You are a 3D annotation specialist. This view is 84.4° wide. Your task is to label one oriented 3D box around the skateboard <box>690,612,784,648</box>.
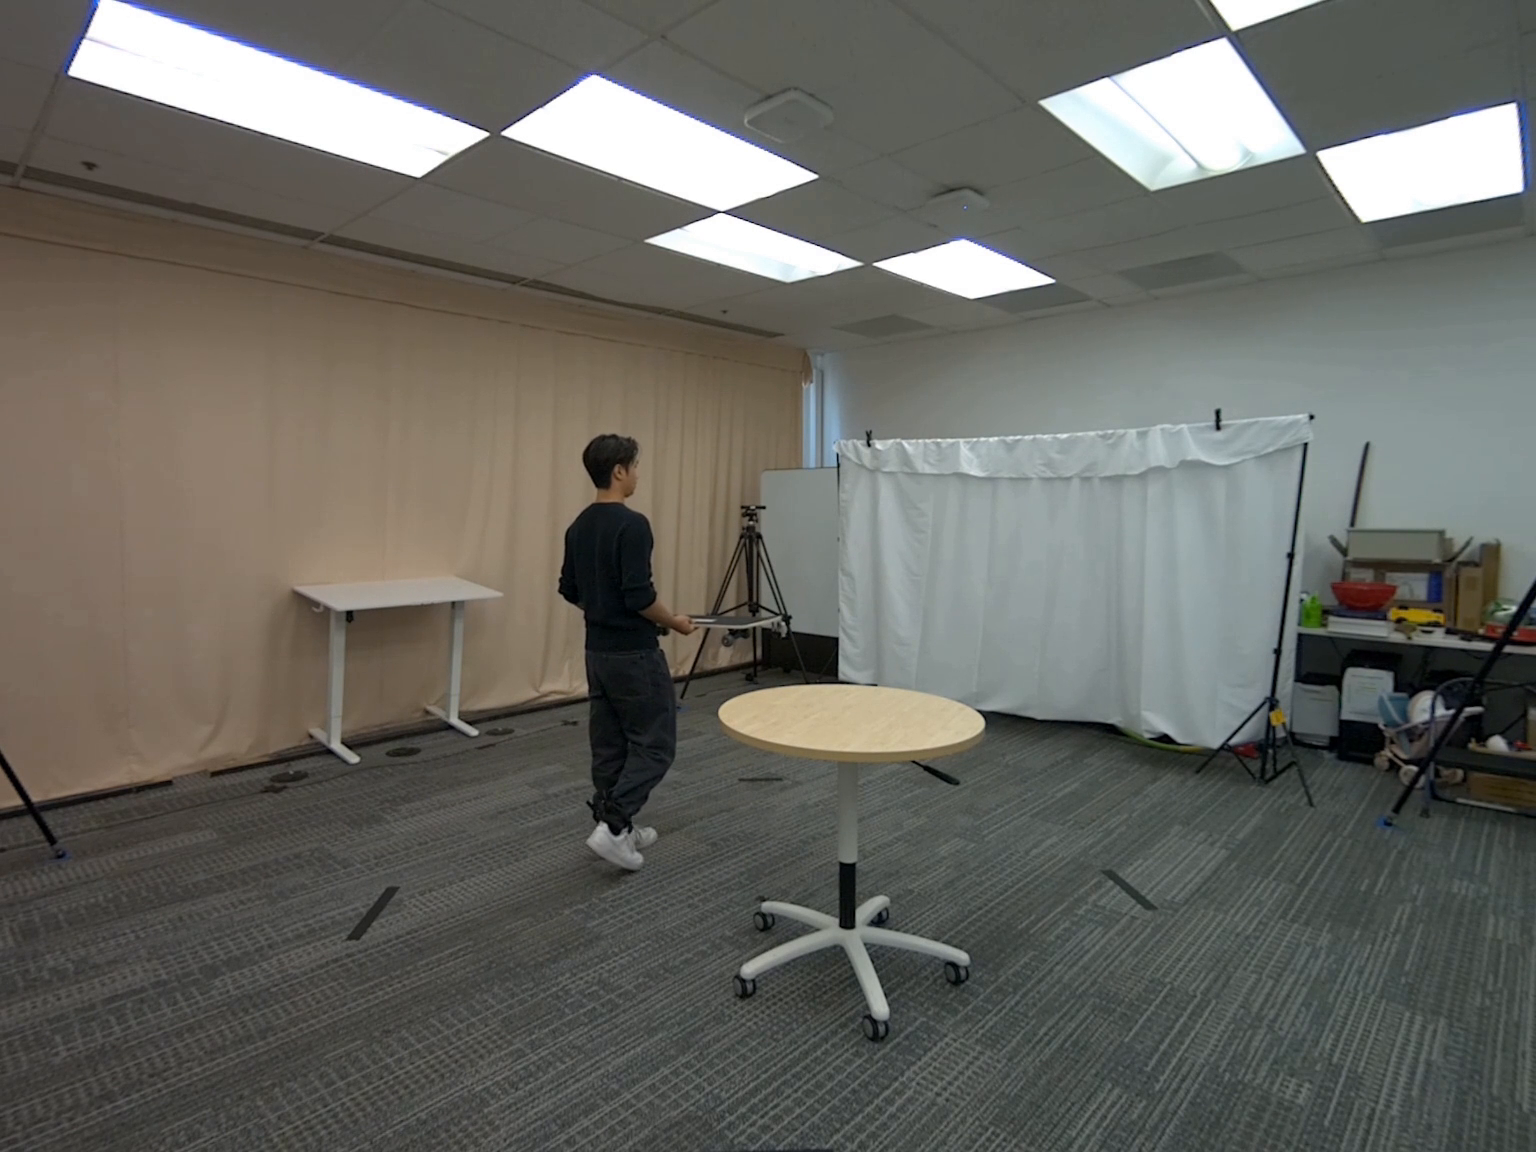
[{"bbox_3d":[-0.314,0.219,3.498,0.807,0.110,0.189,0,9,28],"label":"skateboard"}]
